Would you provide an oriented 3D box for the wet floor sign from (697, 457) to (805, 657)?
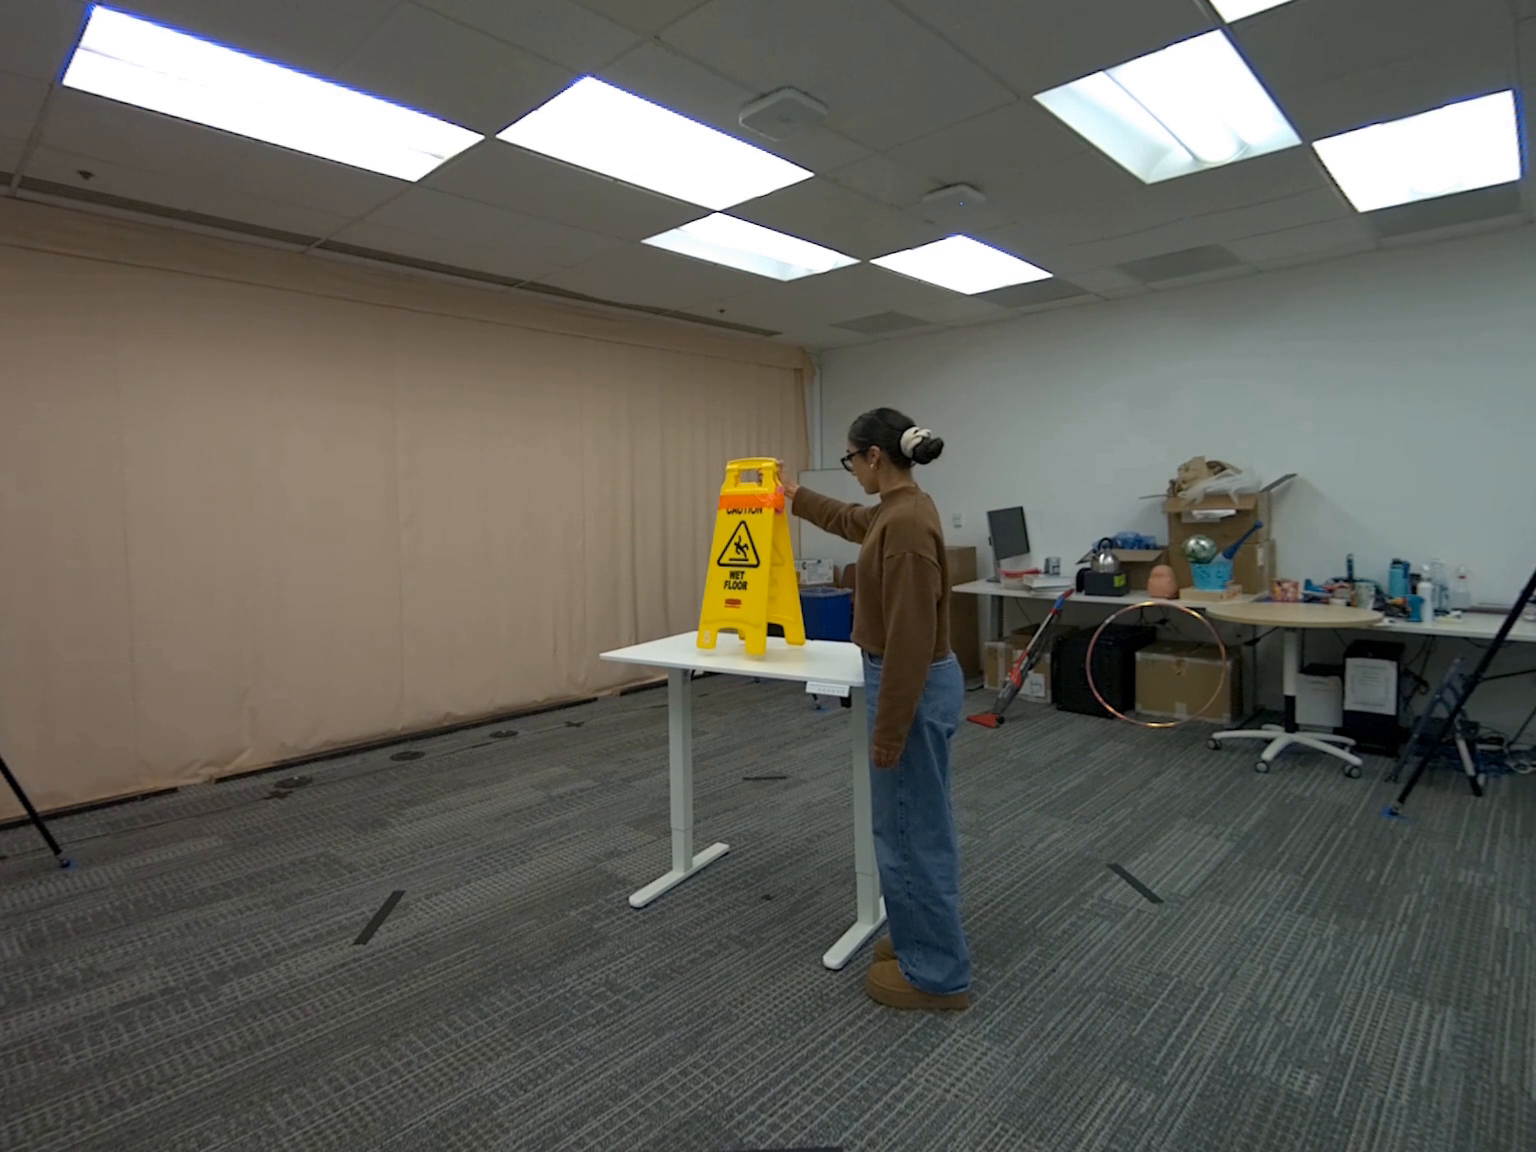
[{"bbox_3d":[-0.052,-0.077,2.910,0.291,0.646,0.281,1,1,34],"label":"wet floor sign"}]
